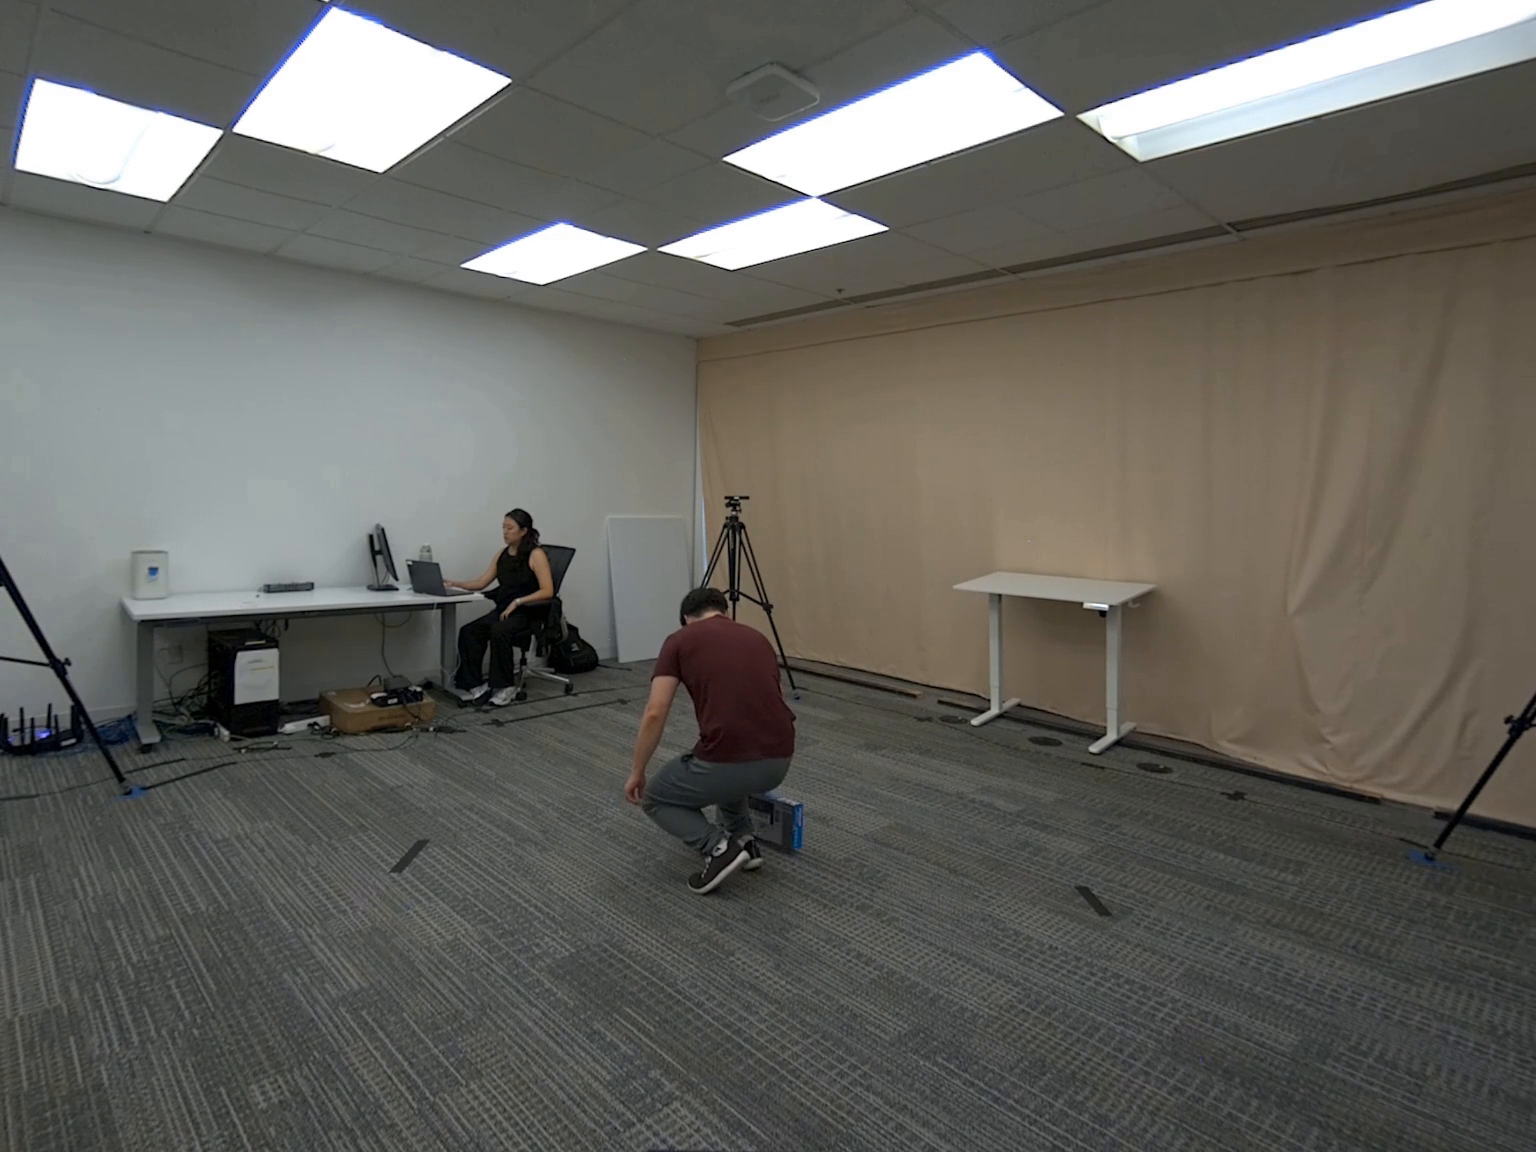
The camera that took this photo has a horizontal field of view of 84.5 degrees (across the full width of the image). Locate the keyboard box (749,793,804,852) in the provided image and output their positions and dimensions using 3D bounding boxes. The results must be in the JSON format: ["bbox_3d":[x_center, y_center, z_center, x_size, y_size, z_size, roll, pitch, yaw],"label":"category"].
[{"bbox_3d":[-0.047,0.969,3.453,0.448,0.176,0.058,3,1,44],"label":"keyboard box"}]
